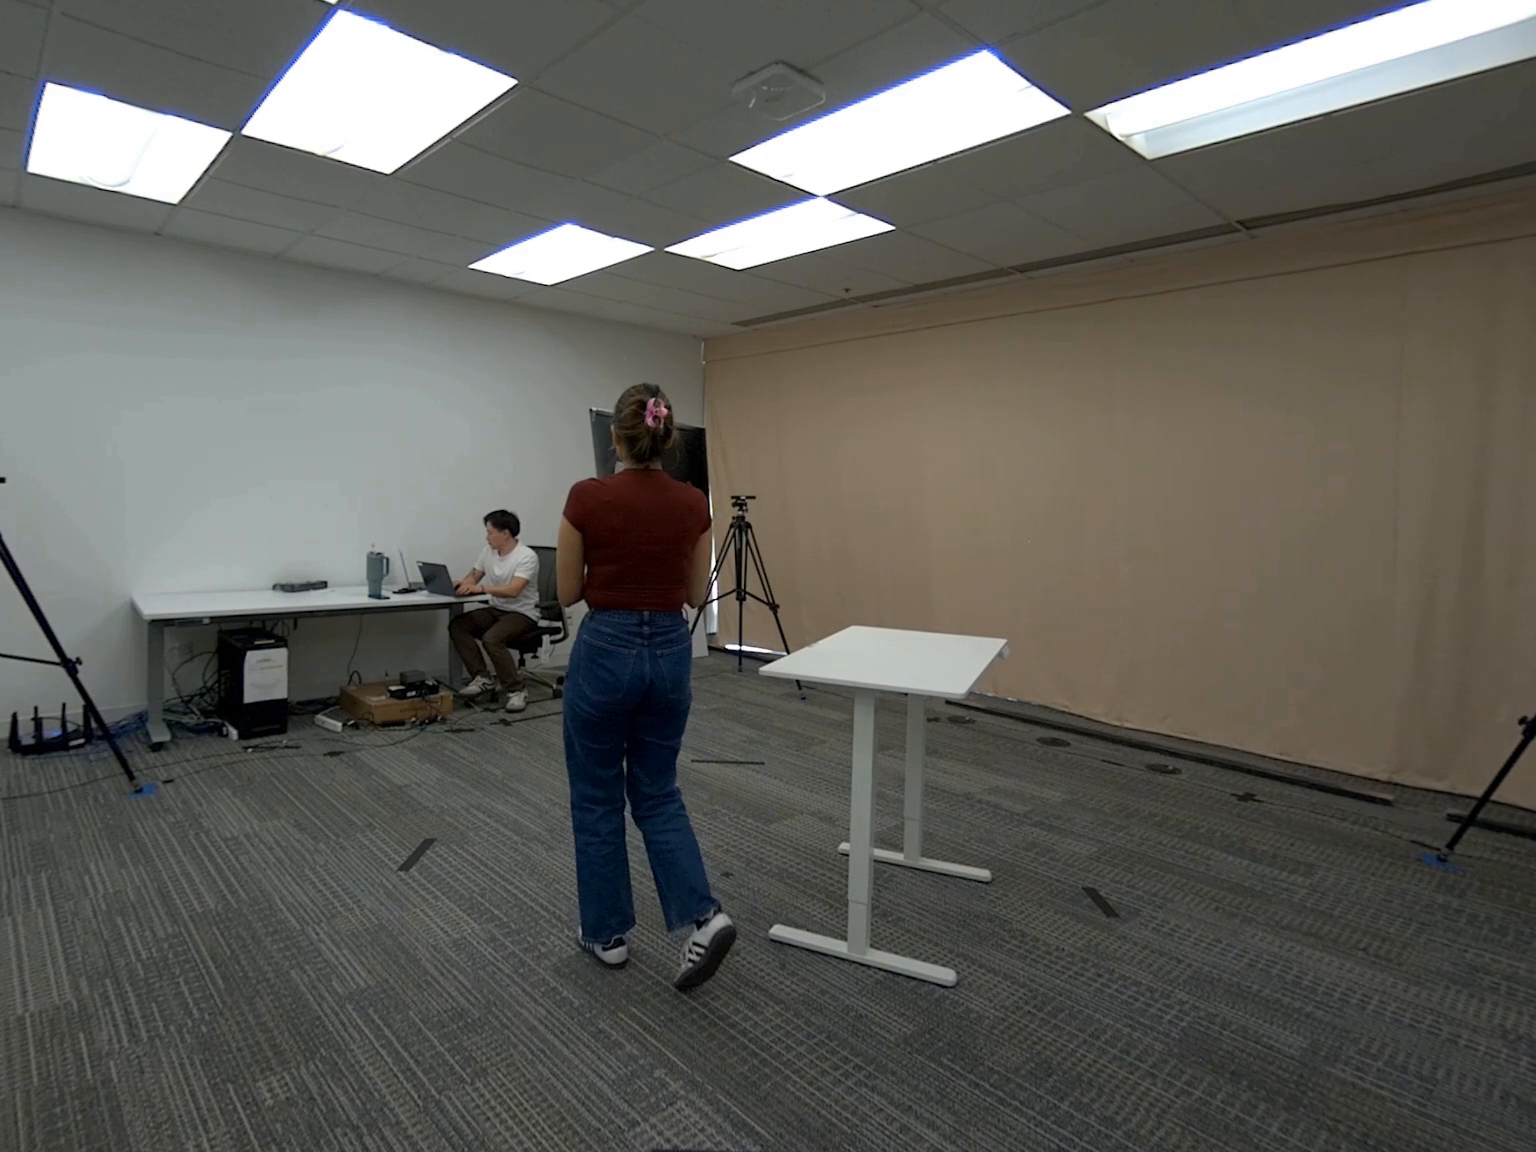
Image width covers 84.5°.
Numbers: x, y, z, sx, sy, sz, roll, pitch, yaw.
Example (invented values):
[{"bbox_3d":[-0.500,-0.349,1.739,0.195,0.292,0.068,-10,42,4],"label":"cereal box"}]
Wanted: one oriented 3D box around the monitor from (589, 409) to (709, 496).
[{"bbox_3d":[-0.418,-0.246,2.695,0.554,0.519,0.183,16,14,38],"label":"monitor"}]
